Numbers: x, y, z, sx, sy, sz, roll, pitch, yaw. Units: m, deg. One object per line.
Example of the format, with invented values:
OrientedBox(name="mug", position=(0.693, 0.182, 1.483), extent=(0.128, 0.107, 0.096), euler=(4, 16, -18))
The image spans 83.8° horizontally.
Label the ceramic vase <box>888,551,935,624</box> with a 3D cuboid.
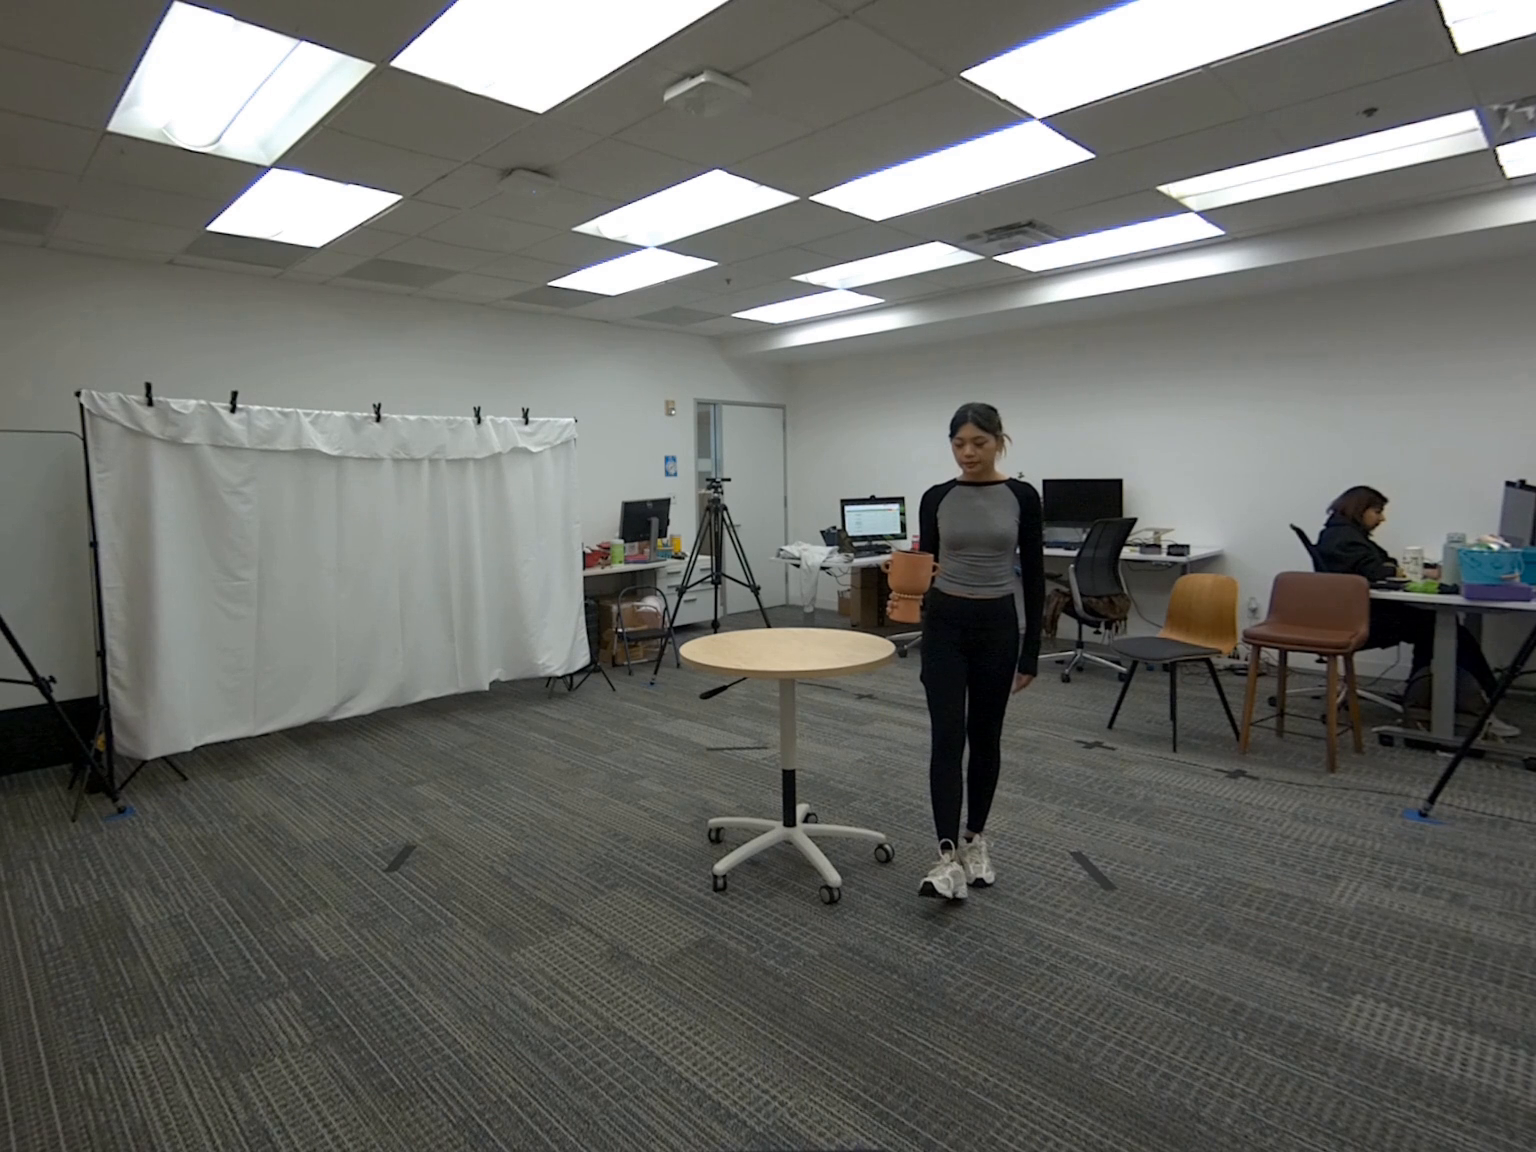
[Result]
OrientedBox(name="ceramic vase", position=(0.463, 0.032, 2.754), extent=(0.163, 0.219, 0.131), euler=(9, 6, 27))
